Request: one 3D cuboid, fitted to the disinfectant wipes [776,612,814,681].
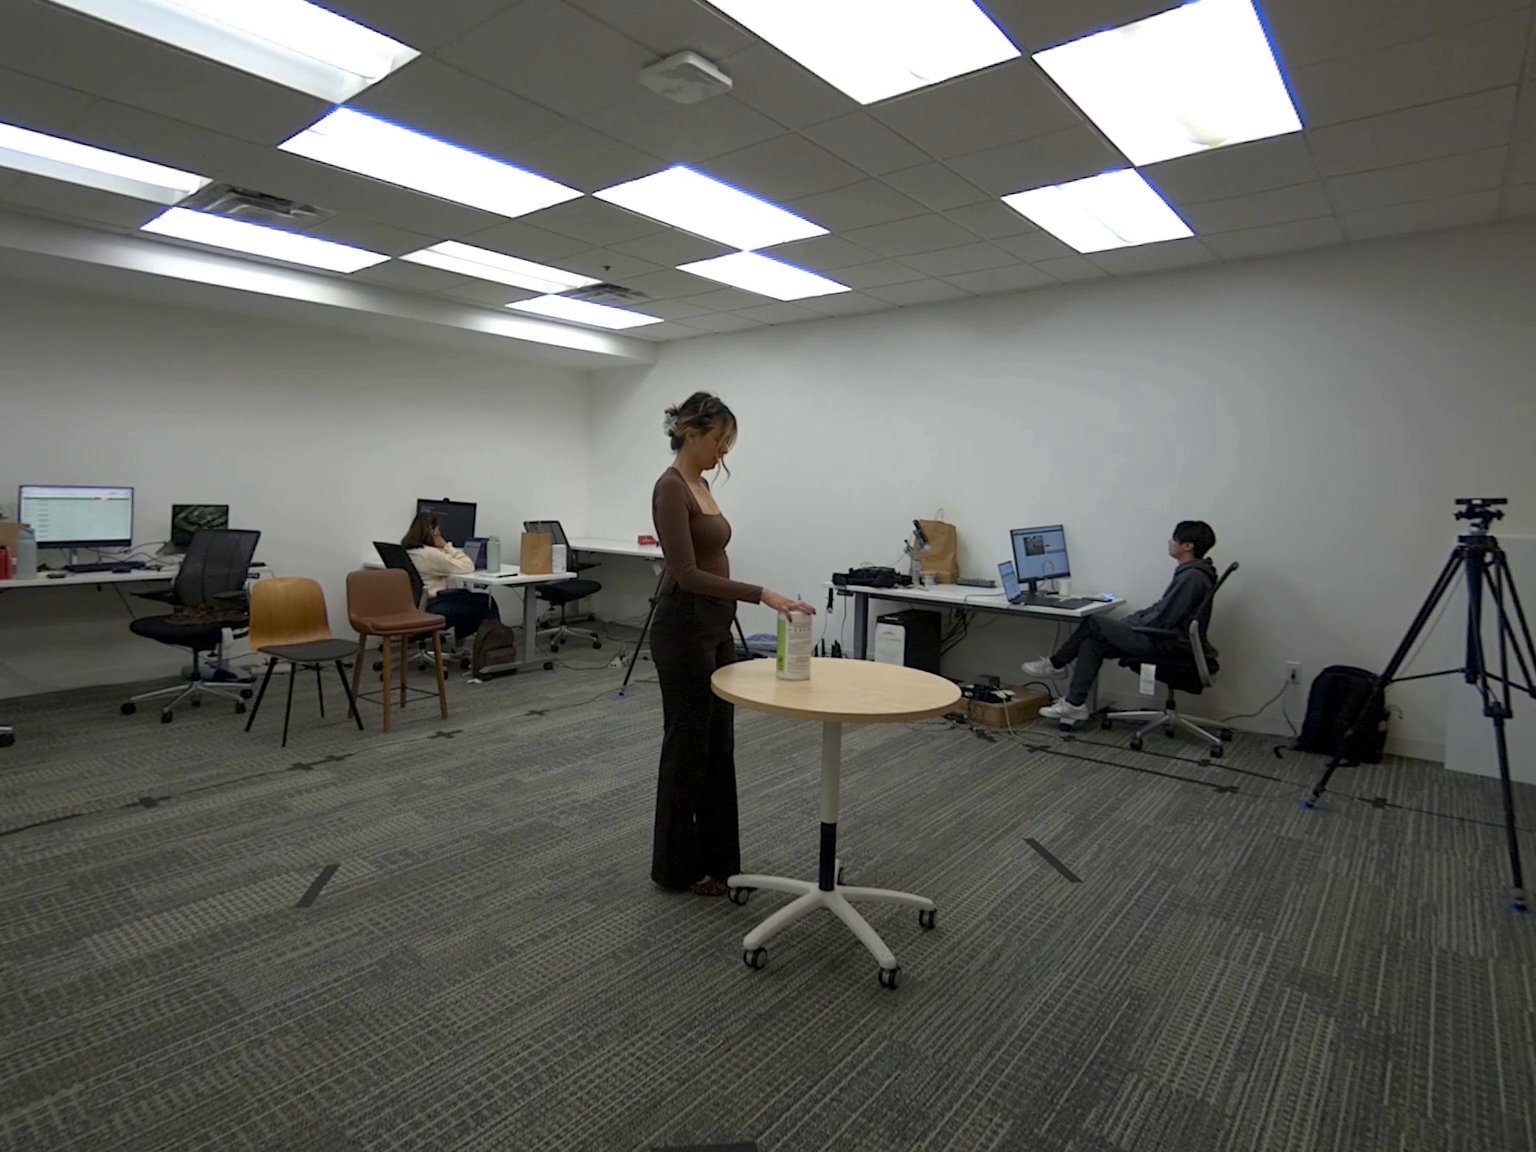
[{"bbox_3d":[0.075,0.212,2.688,0.118,0.217,0.118,-2,1,-2],"label":"disinfectant wipes"}]
